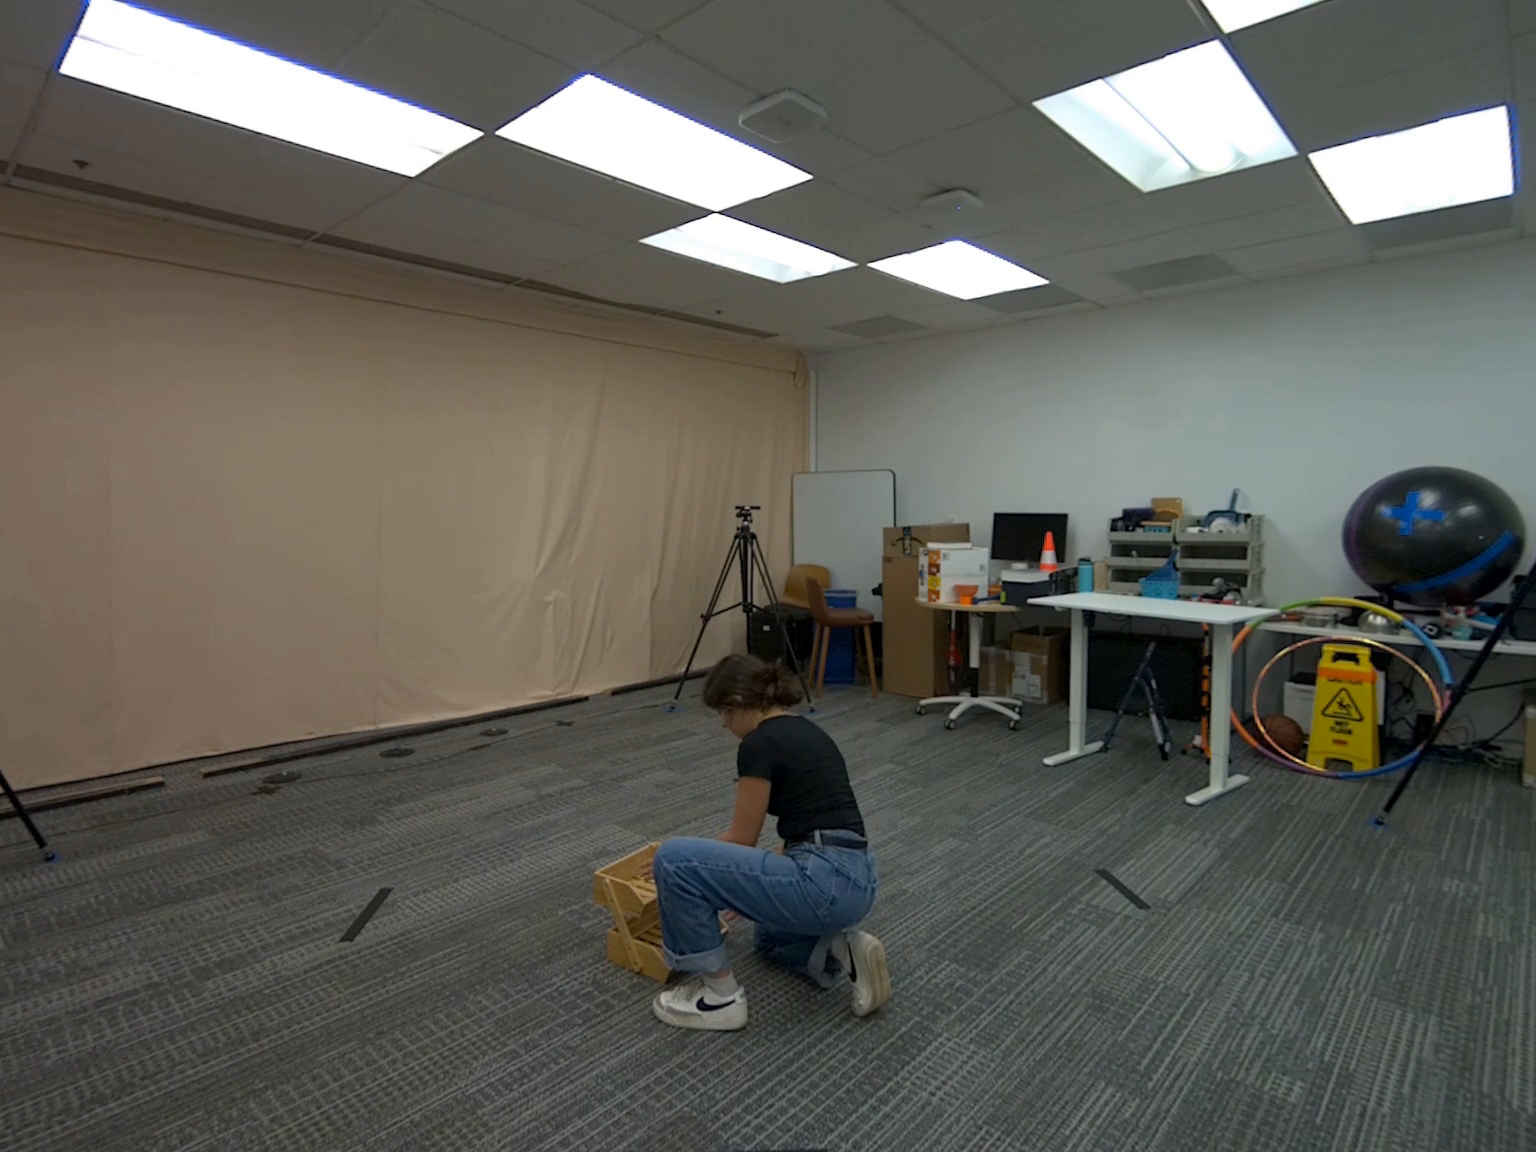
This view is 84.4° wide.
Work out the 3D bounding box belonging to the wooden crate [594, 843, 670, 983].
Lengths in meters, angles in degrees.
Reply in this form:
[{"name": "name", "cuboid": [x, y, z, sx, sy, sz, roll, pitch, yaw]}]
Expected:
[{"name": "wooden crate", "cuboid": [-0.334, 1.042, 2.641, 0.311, 0.273, 0.315, 1, 5, 34]}]
